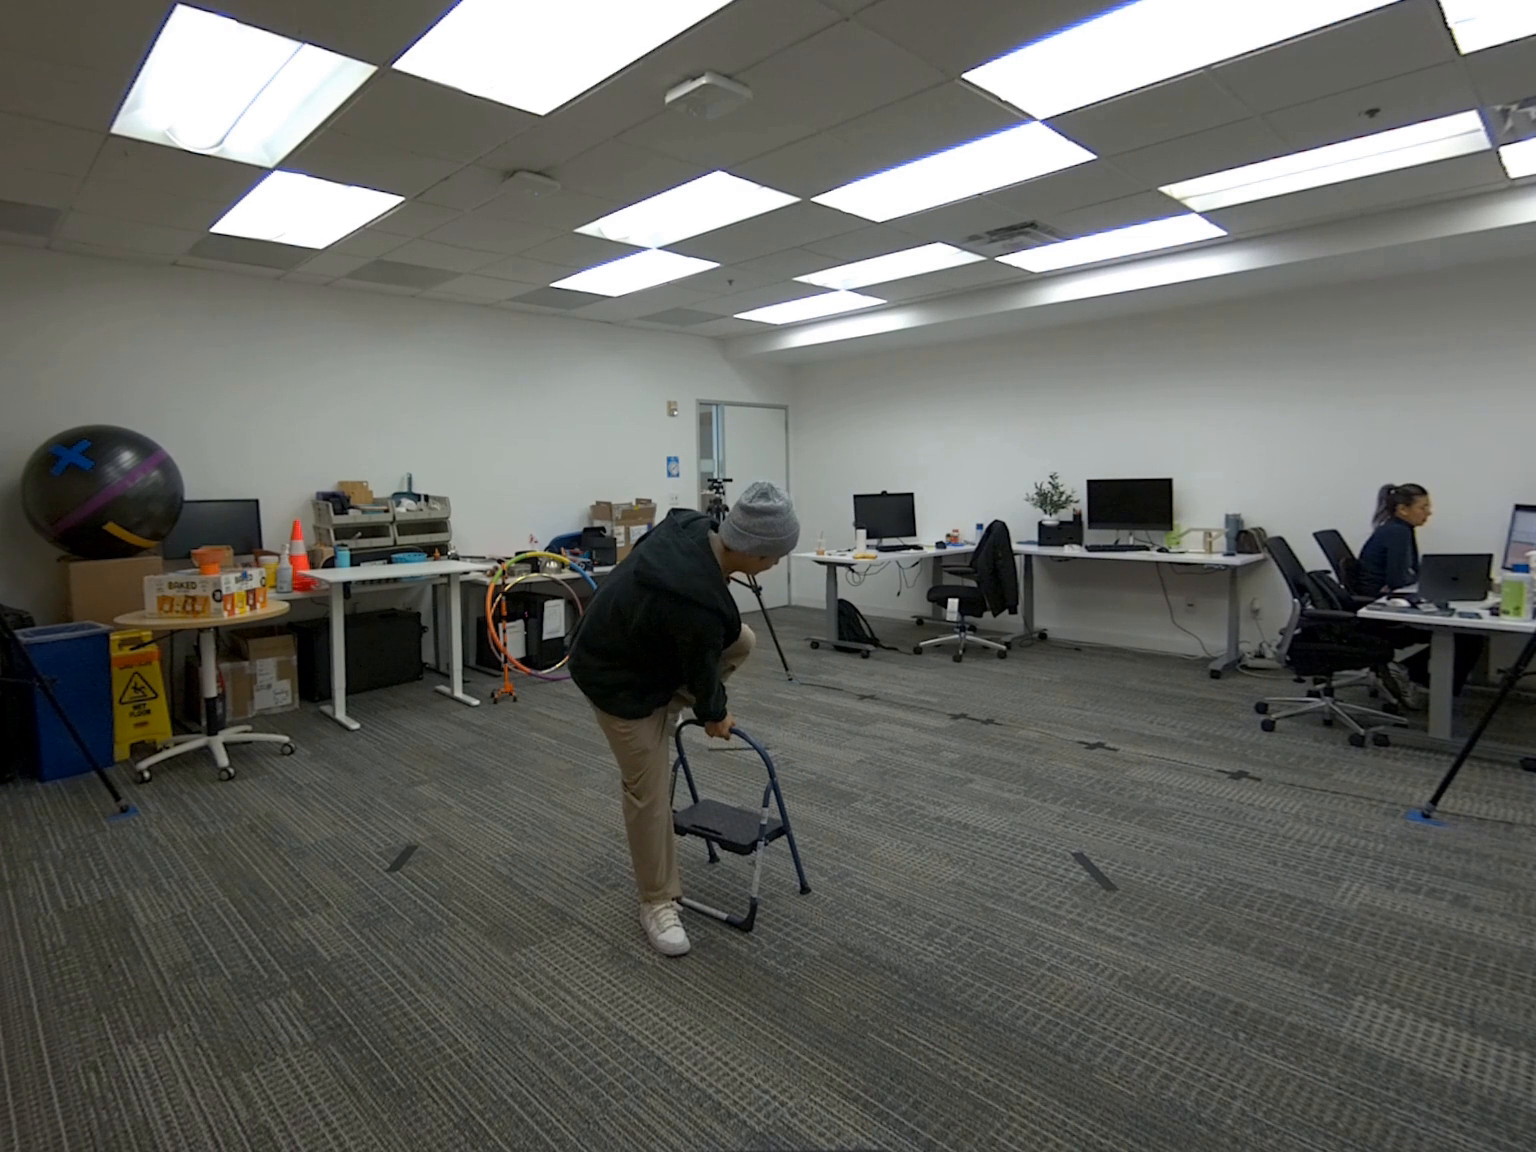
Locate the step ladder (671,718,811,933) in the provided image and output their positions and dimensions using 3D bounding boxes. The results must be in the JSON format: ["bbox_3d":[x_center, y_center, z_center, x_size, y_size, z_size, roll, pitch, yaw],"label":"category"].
[{"bbox_3d":[-0.129,0.769,2.869,0.443,0.604,0.340,2,5,37],"label":"step ladder"}]
